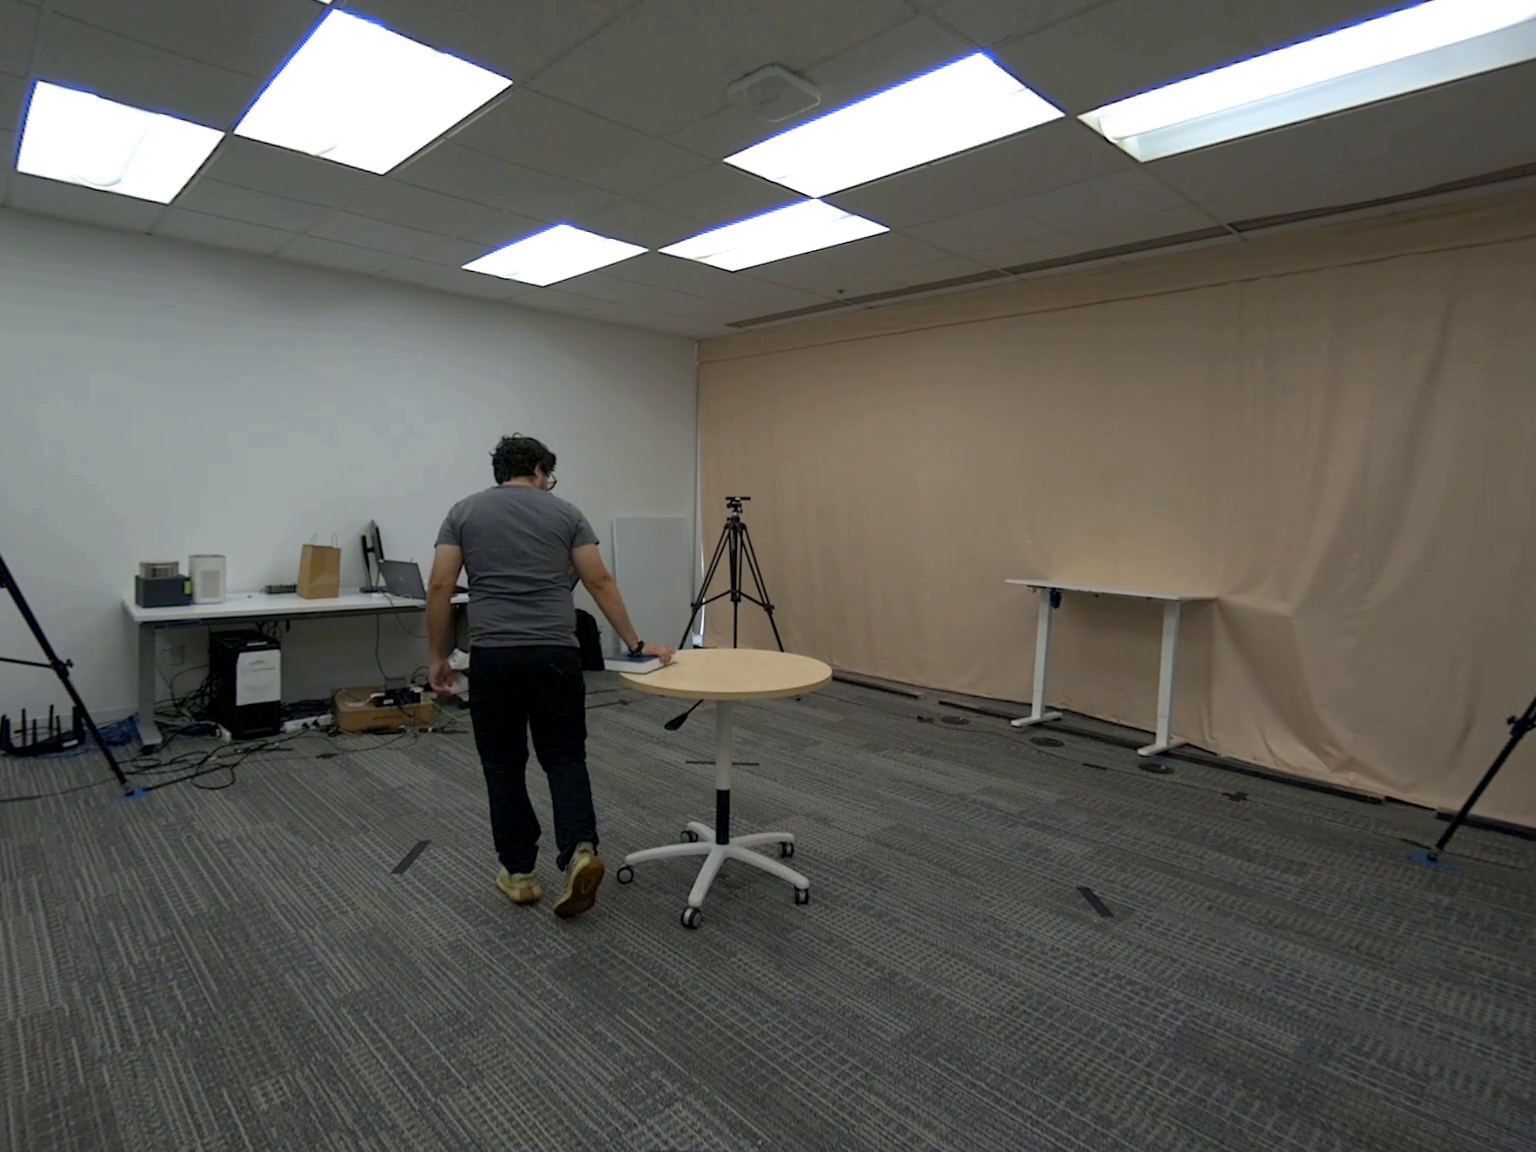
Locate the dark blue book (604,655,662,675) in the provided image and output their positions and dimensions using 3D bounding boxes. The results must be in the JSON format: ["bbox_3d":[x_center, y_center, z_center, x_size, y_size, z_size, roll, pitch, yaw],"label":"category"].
[{"bbox_3d":[-0.467,0.304,3.025,0.166,0.045,0.241,2,3,20],"label":"dark blue book"}]
